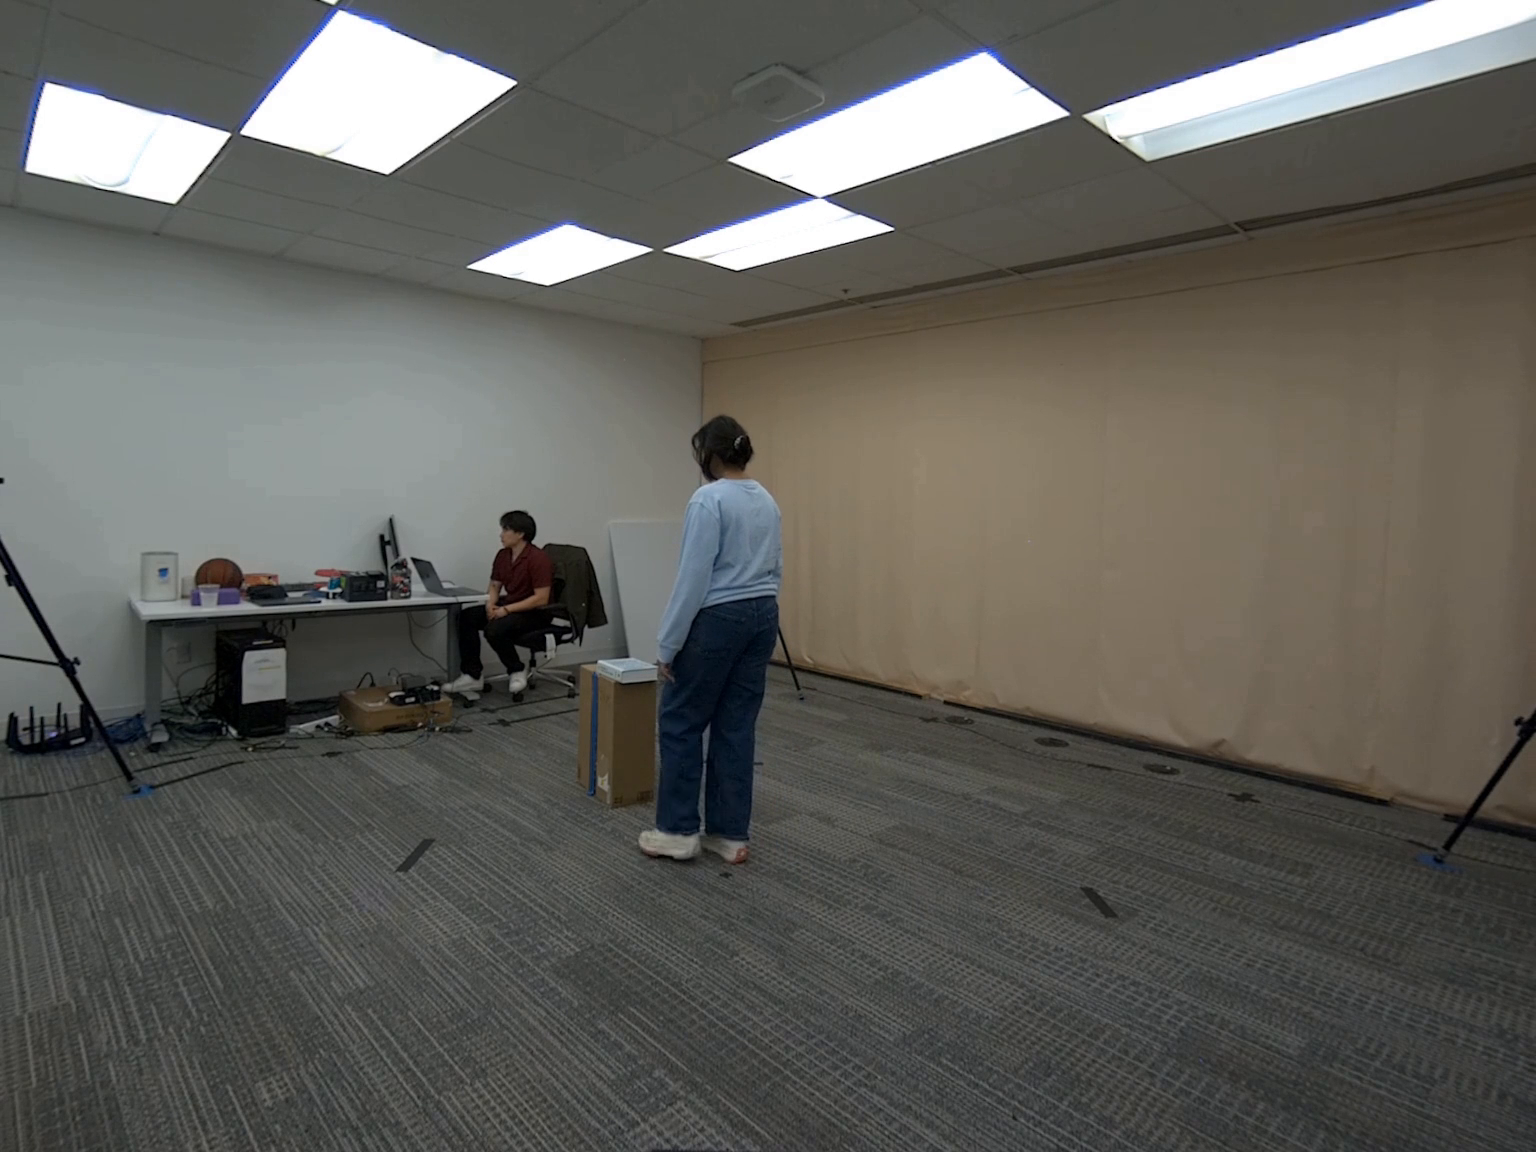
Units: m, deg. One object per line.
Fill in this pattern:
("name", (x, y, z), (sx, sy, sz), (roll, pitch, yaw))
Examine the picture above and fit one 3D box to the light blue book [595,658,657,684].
("light blue book", (-0.651, 0.431, 3.861), (0.187, 0.059, 0.267), (-1, 5, -35))
